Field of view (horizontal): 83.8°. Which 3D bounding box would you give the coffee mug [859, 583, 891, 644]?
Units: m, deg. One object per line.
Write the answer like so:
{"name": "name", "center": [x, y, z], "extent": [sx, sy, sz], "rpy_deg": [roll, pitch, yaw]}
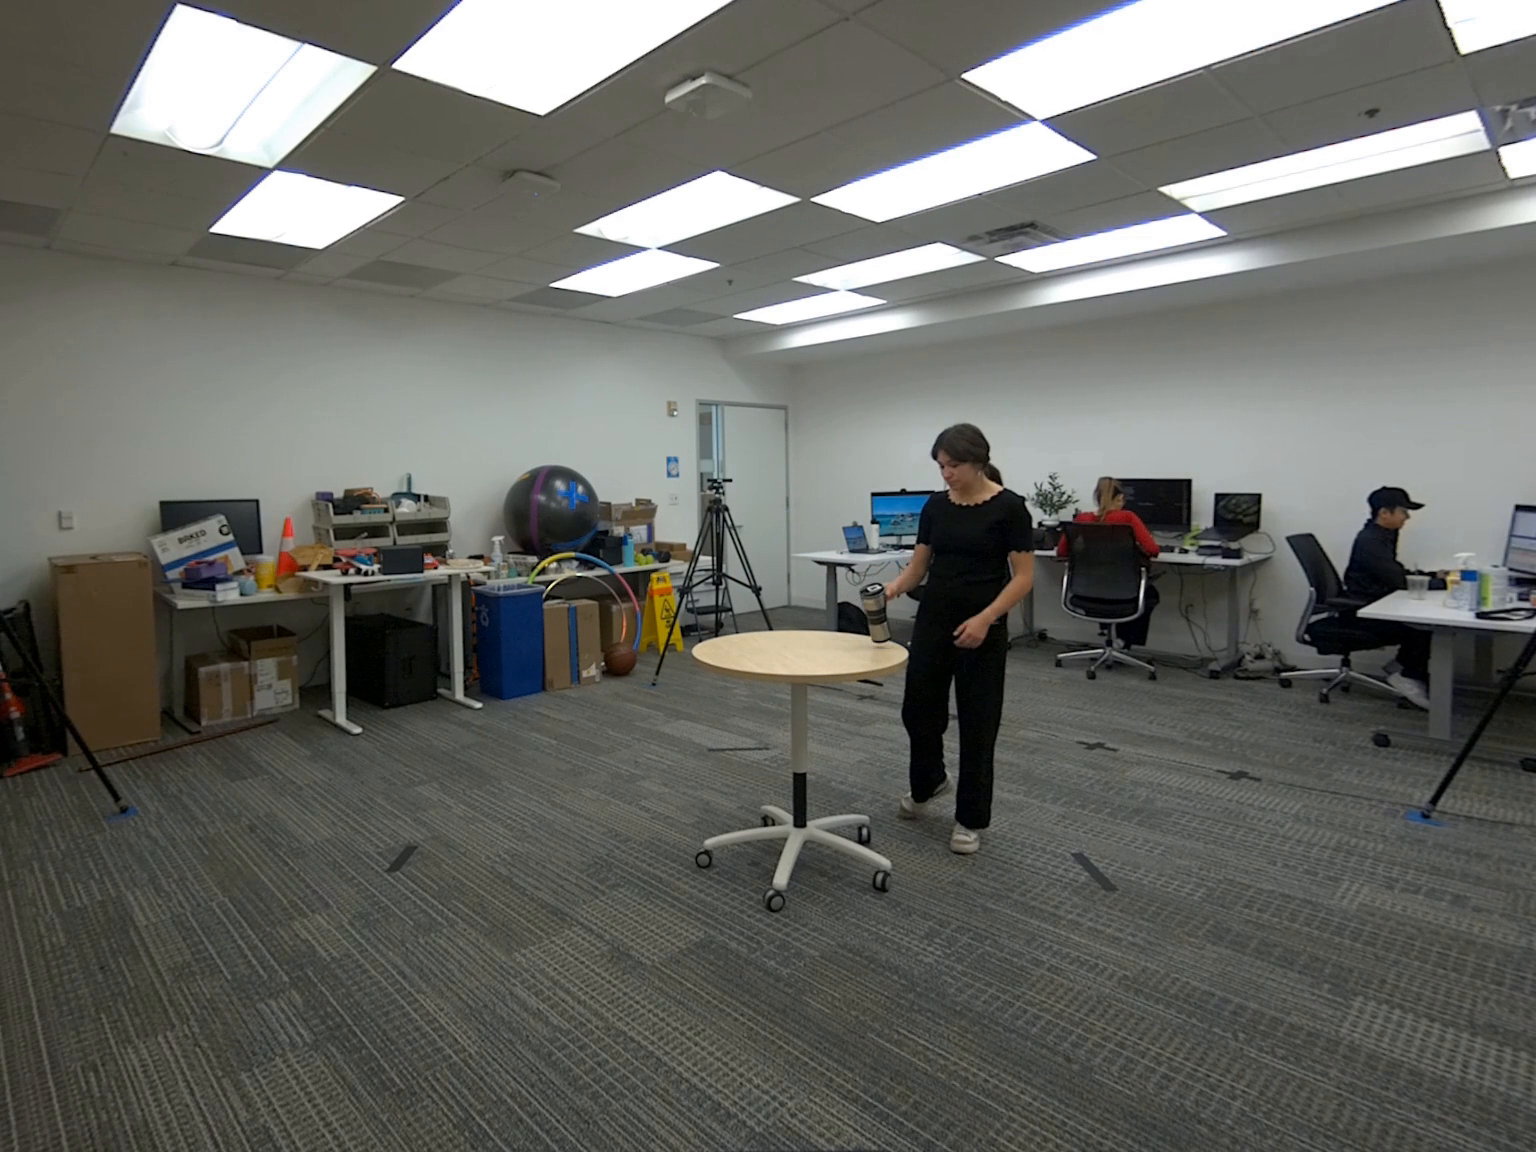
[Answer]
{"name": "coffee mug", "center": [0.410, 0.129, 3.051], "extent": [0.120, 0.200, 0.090], "rpy_deg": [-25, 16, -30]}
